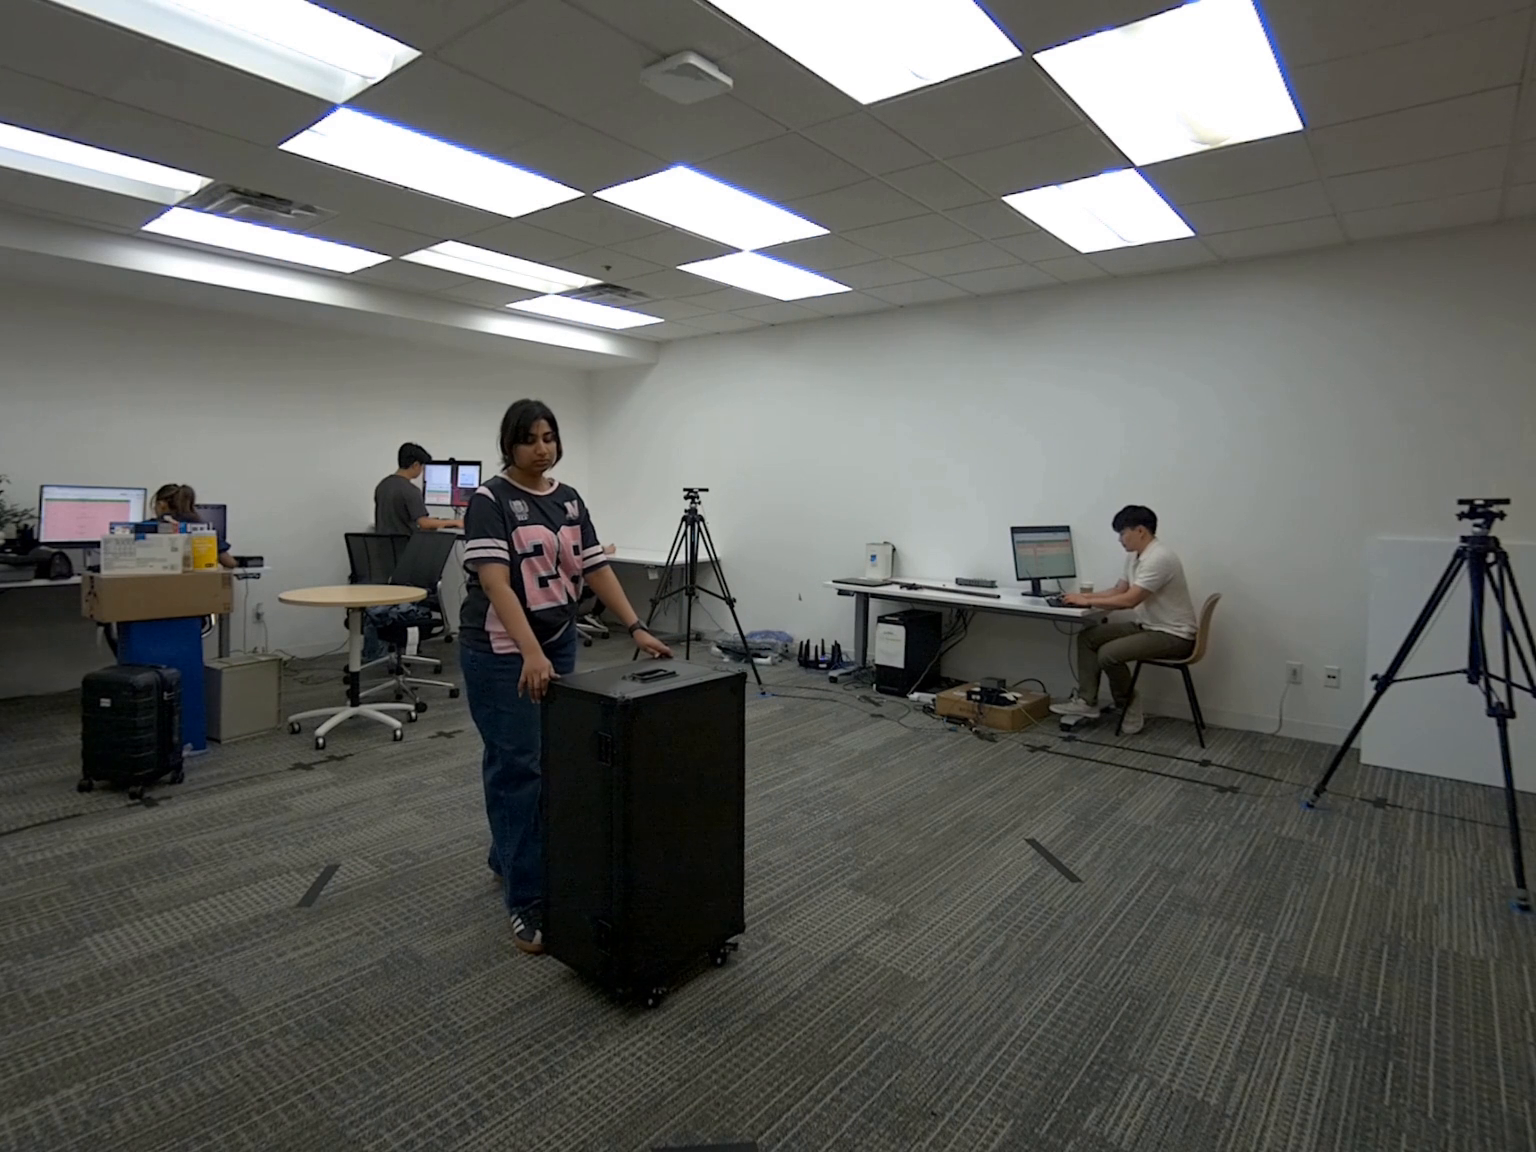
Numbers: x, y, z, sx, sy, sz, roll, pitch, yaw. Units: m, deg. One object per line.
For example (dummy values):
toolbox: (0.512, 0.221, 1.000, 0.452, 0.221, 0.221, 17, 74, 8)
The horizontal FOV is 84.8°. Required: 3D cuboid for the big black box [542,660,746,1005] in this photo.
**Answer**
big black box: (-0.367, 0.711, 2.448, 0.398, 0.867, 0.508, 2, 3, 39)
